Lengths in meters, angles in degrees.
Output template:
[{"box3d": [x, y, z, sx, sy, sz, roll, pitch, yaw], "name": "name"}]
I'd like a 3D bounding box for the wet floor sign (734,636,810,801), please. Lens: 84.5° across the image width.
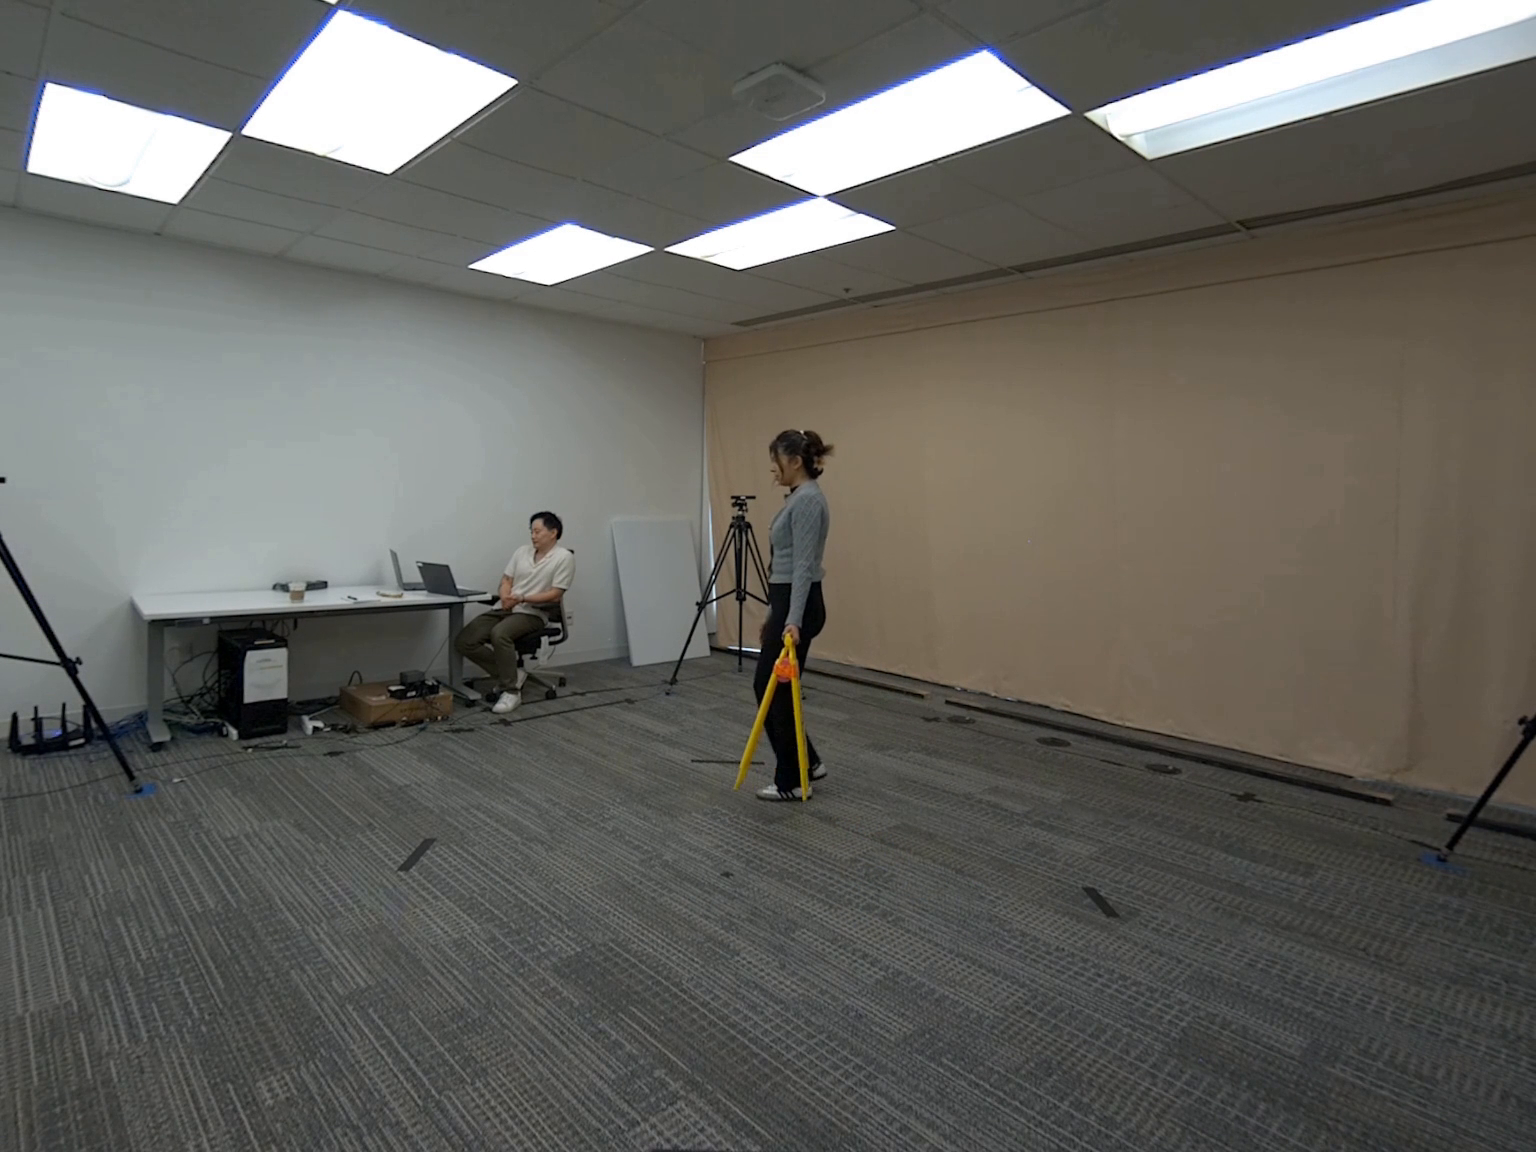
[{"box3d": [0.046, 0.566, 3.502, 0.291, 0.648, 0.280, 6, -4, 6], "name": "wet floor sign"}]
